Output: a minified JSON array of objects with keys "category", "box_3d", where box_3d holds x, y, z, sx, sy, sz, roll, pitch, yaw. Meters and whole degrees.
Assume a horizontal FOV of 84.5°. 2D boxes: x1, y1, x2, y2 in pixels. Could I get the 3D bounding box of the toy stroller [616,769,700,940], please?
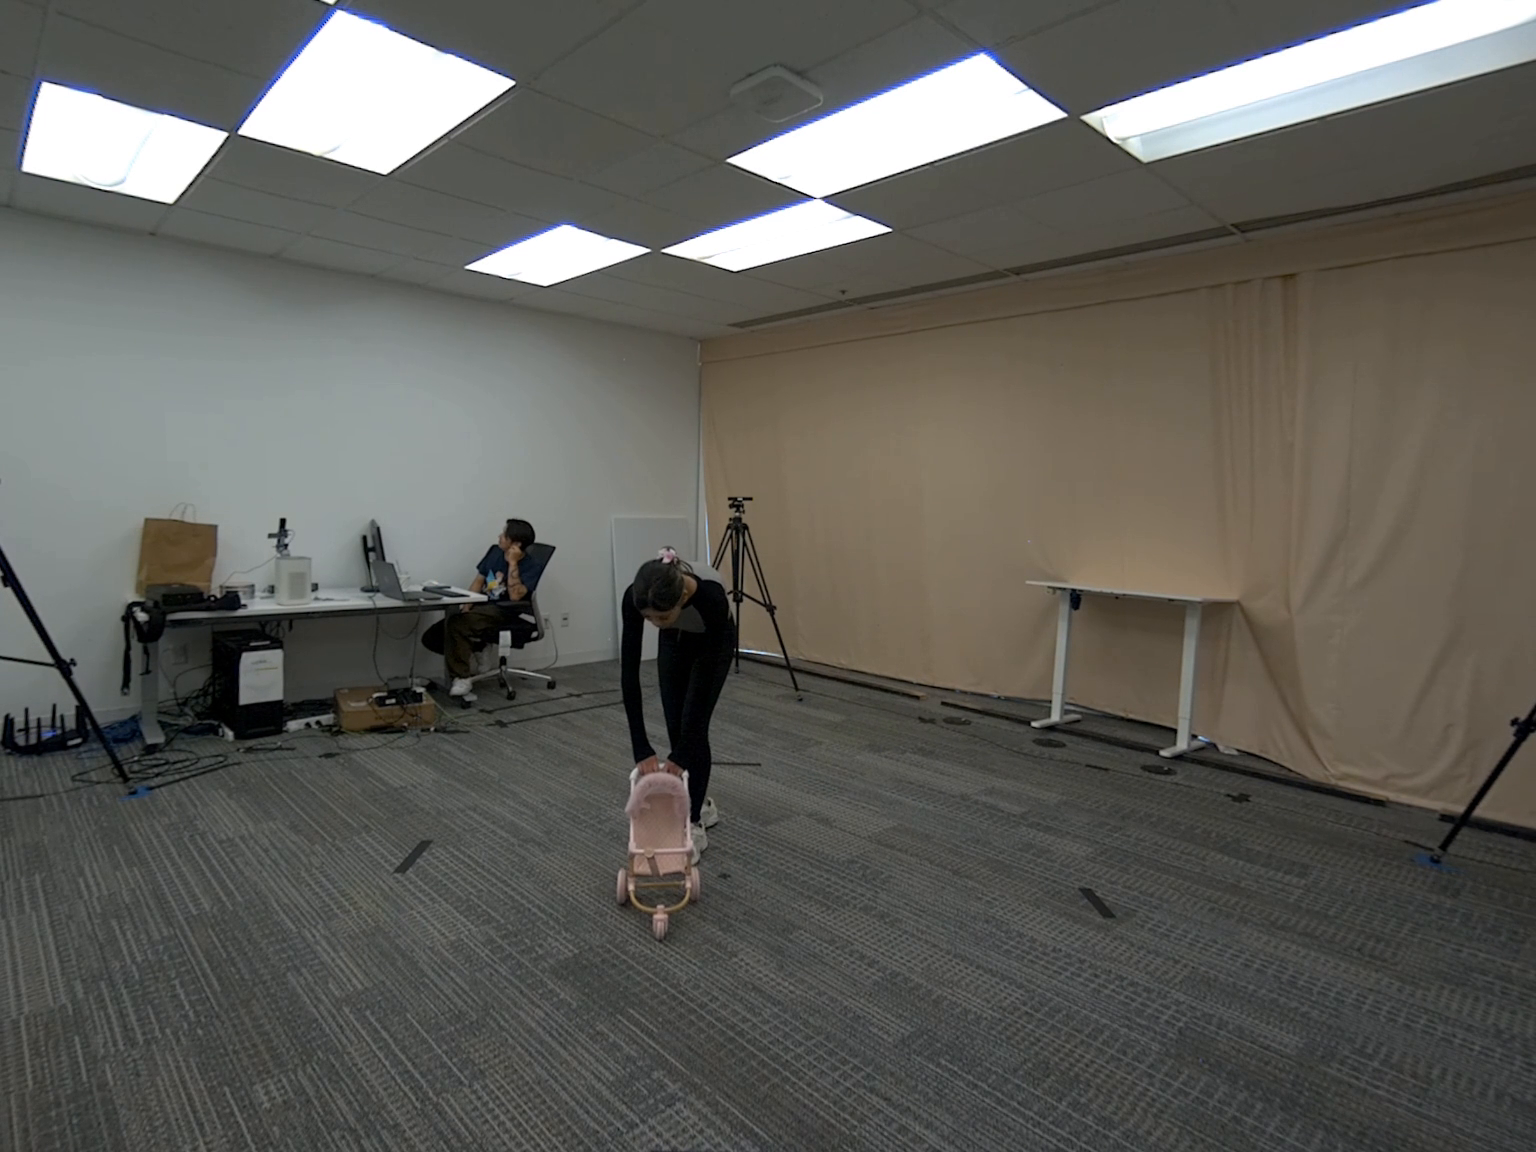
[{"category":"toy stroller","box_3d":[-0.378,0.906,2.826,0.280,0.540,0.339,0,-13,-5]}]
